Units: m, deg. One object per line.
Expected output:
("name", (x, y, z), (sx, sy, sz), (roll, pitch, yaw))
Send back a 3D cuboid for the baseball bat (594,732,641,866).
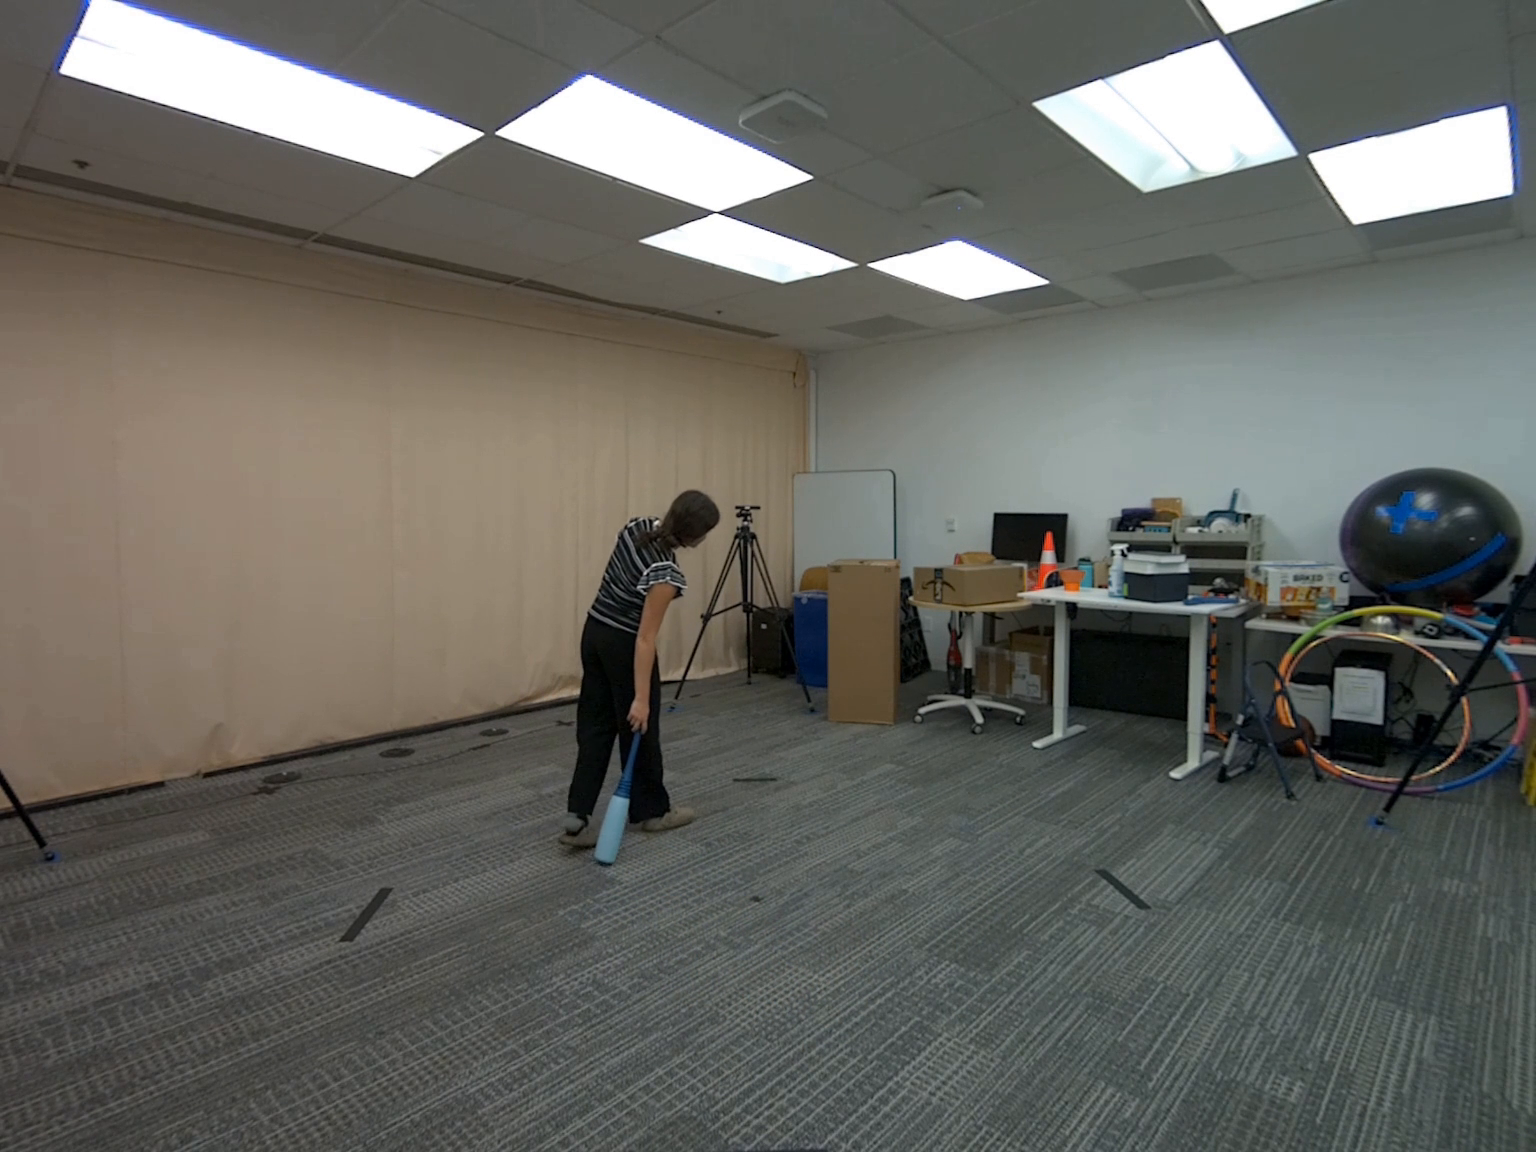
("baseball bat", (-0.577, 0.856, 3.355), (0.089, 0.545, 0.088), (14, -15, 2))
